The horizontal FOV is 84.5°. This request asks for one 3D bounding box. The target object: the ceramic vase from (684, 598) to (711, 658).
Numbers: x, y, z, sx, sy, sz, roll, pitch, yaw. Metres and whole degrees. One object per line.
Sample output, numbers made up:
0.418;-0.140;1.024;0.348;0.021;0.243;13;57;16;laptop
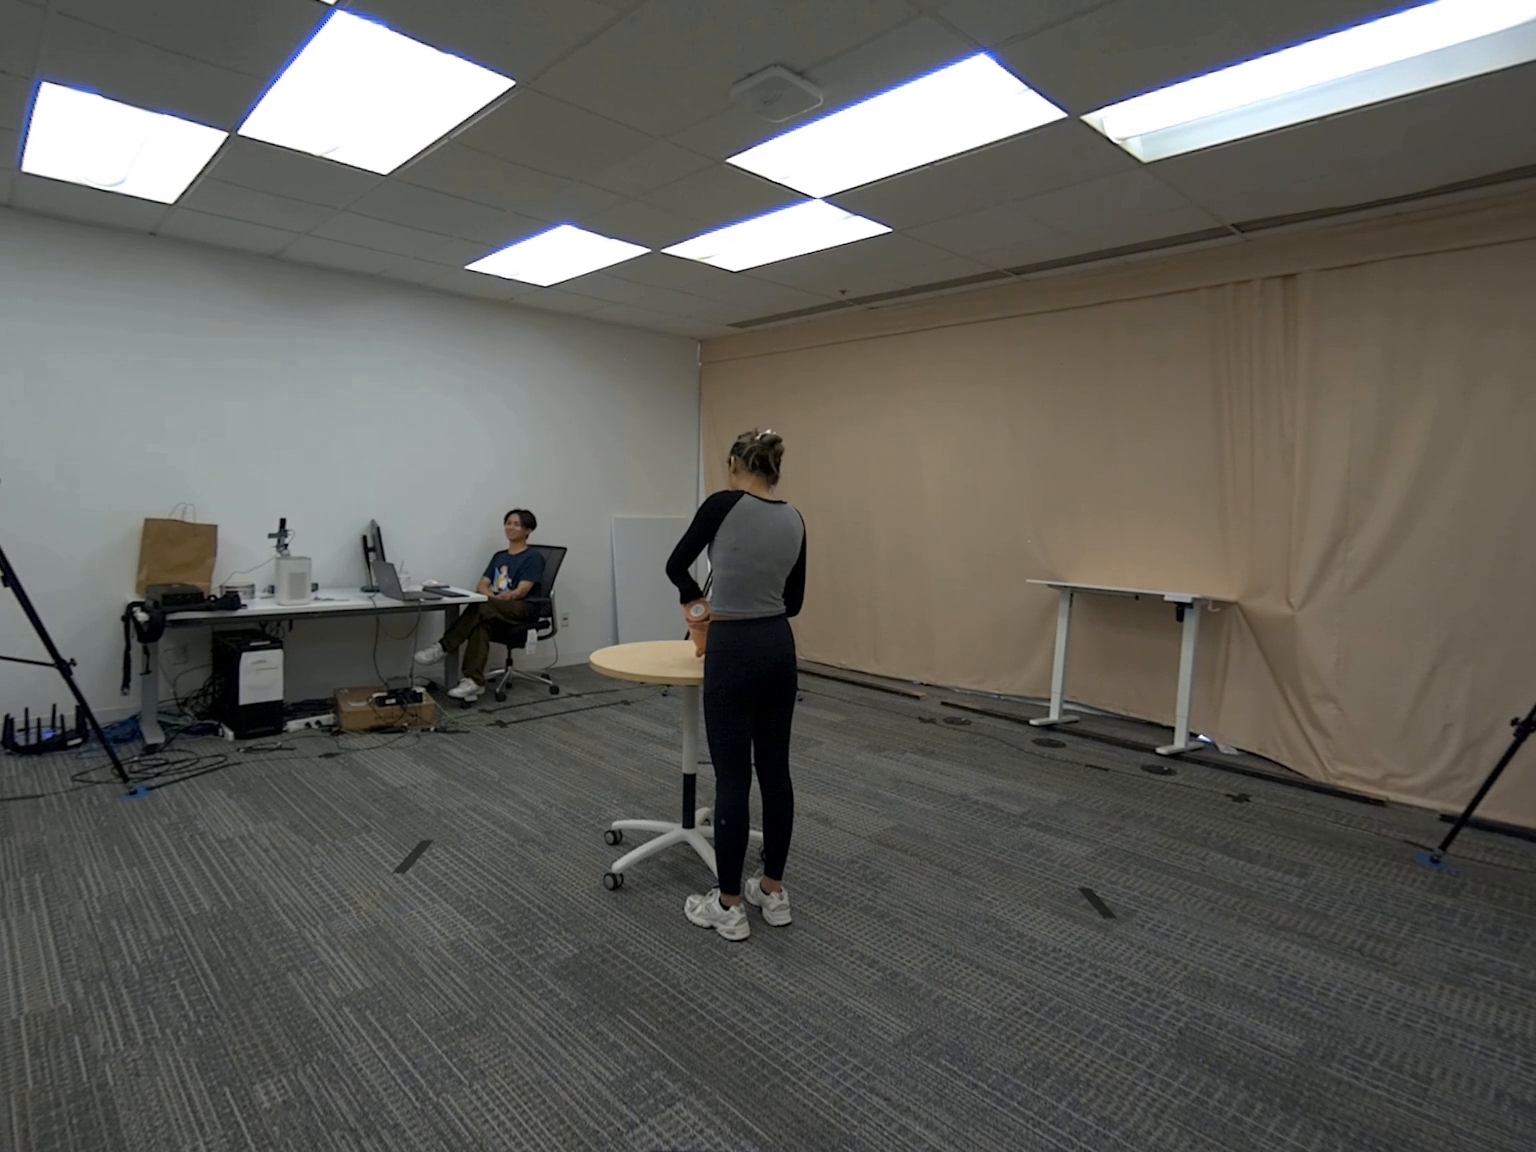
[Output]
-0.234;0.183;3.064;0.135;0.163;0.213;-18;-38;2;ceramic vase
